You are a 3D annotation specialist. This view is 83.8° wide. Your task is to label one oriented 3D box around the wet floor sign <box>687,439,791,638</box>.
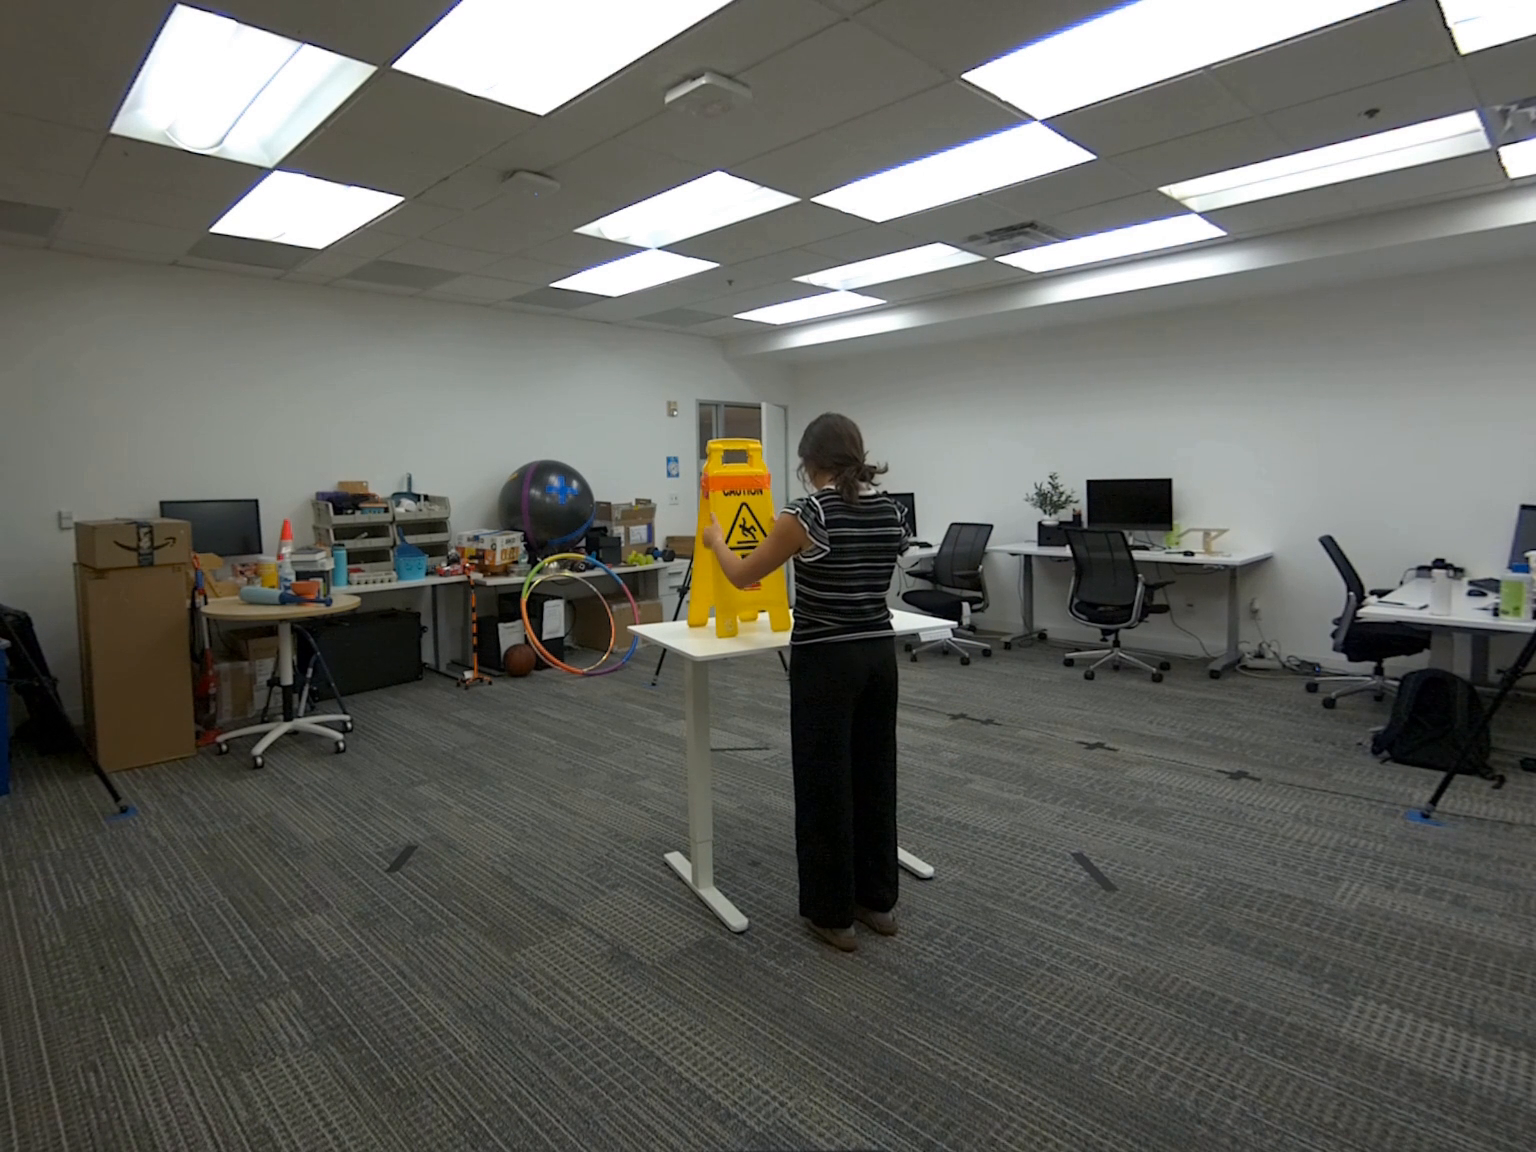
[{"bbox_3d":[-0.109,-0.141,2.929,0.276,0.644,0.297,-3,4,-27],"label":"wet floor sign"}]
